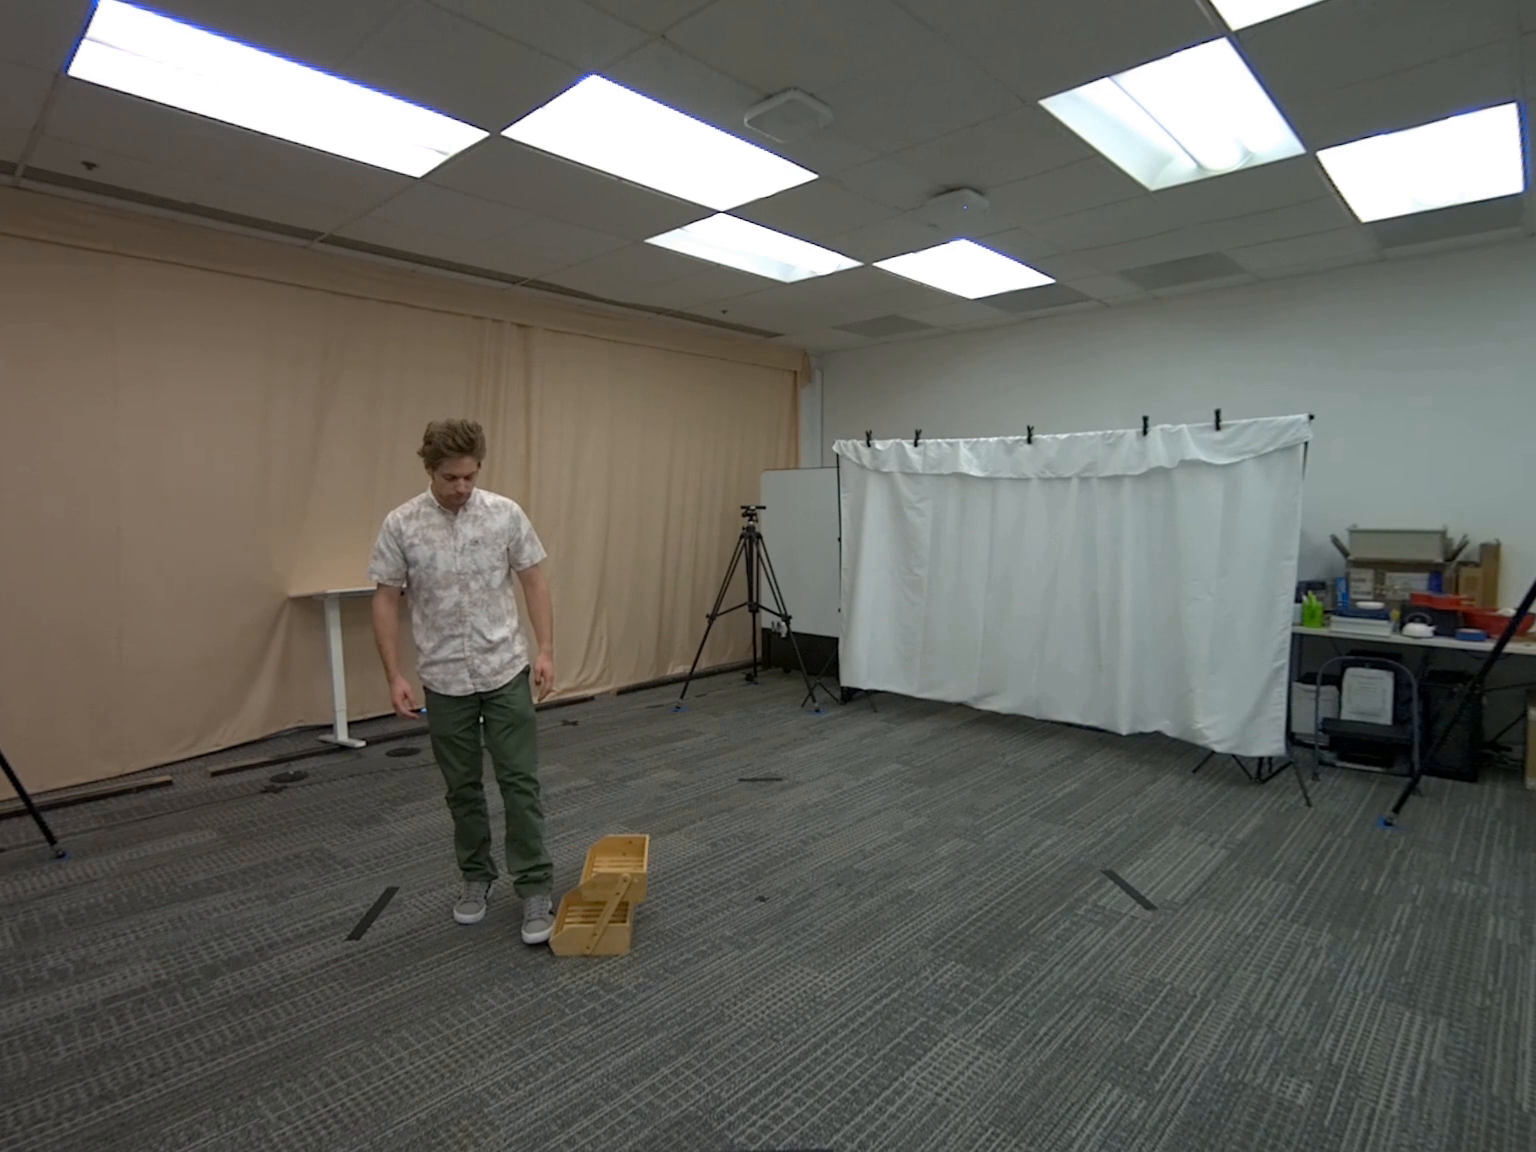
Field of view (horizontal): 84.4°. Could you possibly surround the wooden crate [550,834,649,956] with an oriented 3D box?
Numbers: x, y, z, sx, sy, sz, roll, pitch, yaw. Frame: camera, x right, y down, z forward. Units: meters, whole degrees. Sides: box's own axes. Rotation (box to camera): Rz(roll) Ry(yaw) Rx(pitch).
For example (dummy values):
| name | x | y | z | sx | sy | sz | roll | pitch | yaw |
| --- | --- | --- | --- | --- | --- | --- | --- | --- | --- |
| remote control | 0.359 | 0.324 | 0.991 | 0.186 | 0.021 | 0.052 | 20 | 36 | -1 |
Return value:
| name | x | y | z | sx | sy | sz | roll | pitch | yaw |
| --- | --- | --- | --- | --- | --- | --- | --- | --- | --- |
| wooden crate | -0.554 | 1.037 | 2.752 | 0.300 | 0.273 | 0.327 | -1 | 4 | -6 |
